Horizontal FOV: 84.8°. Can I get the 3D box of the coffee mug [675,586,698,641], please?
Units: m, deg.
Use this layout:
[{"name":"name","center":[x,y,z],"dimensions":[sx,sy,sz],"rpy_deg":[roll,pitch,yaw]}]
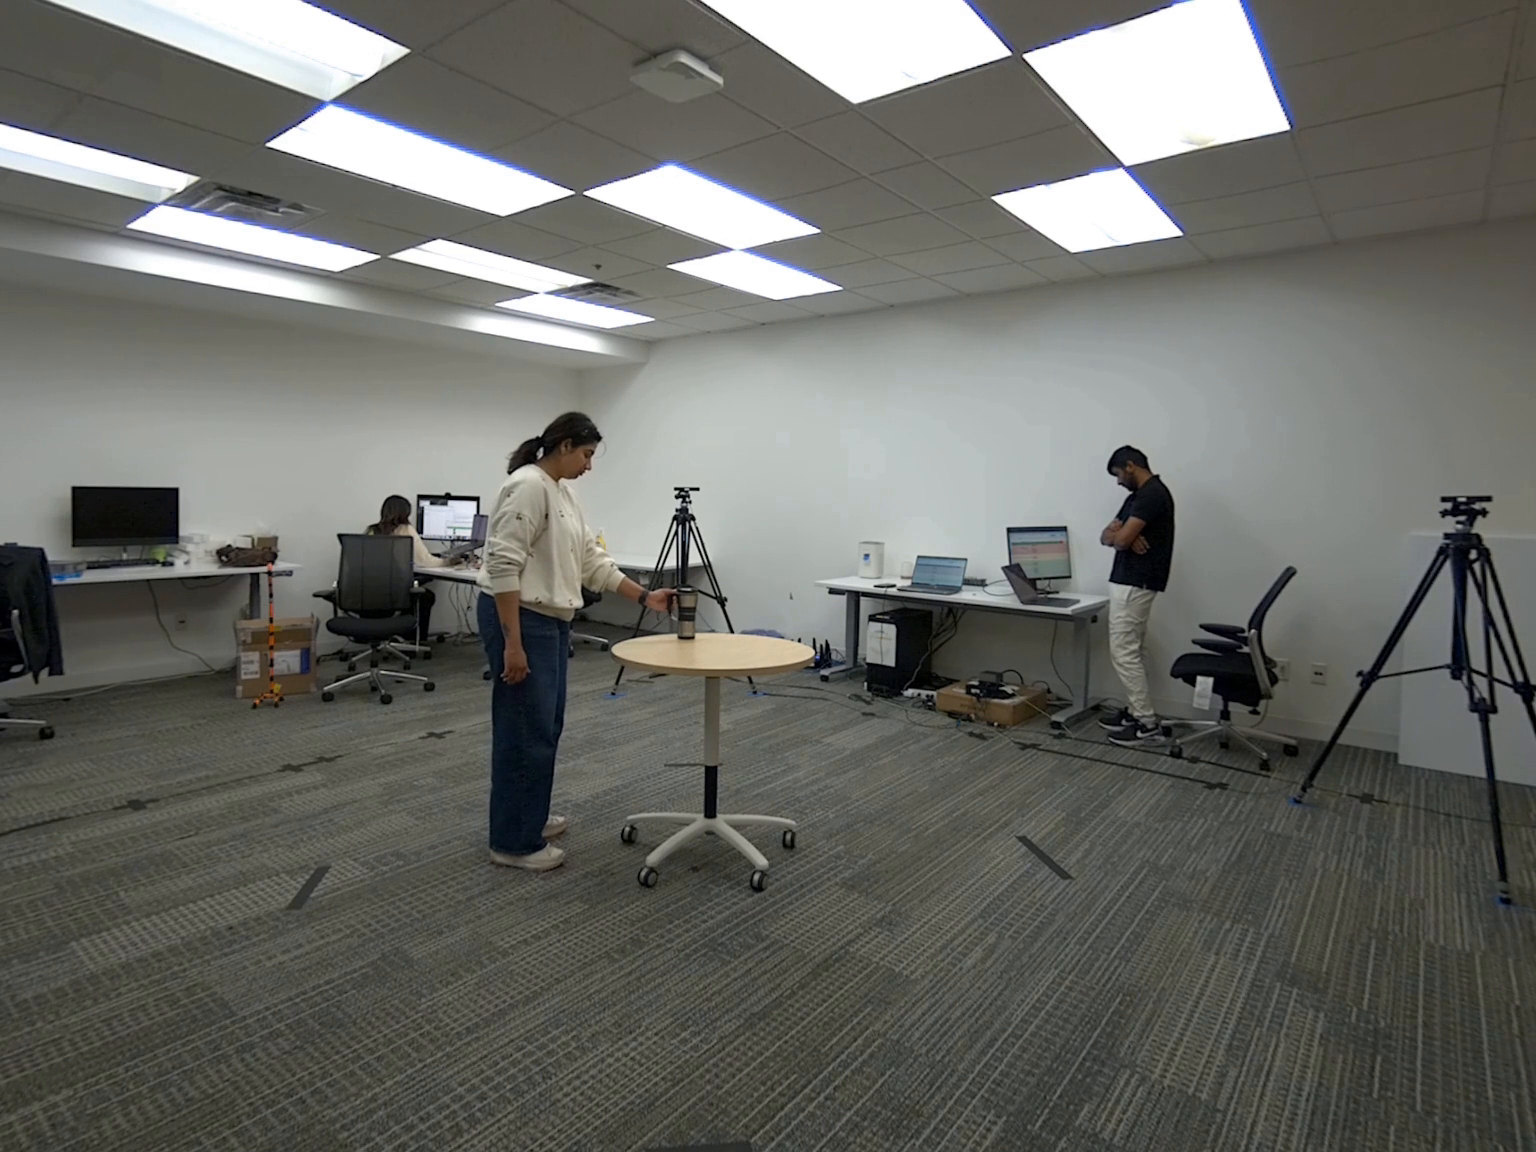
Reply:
[{"name":"coffee mug","center":[-0.359,0.152,3.457],"dimensions":[0.126,0.201,0.086],"rpy_deg":[7,12,38]}]
